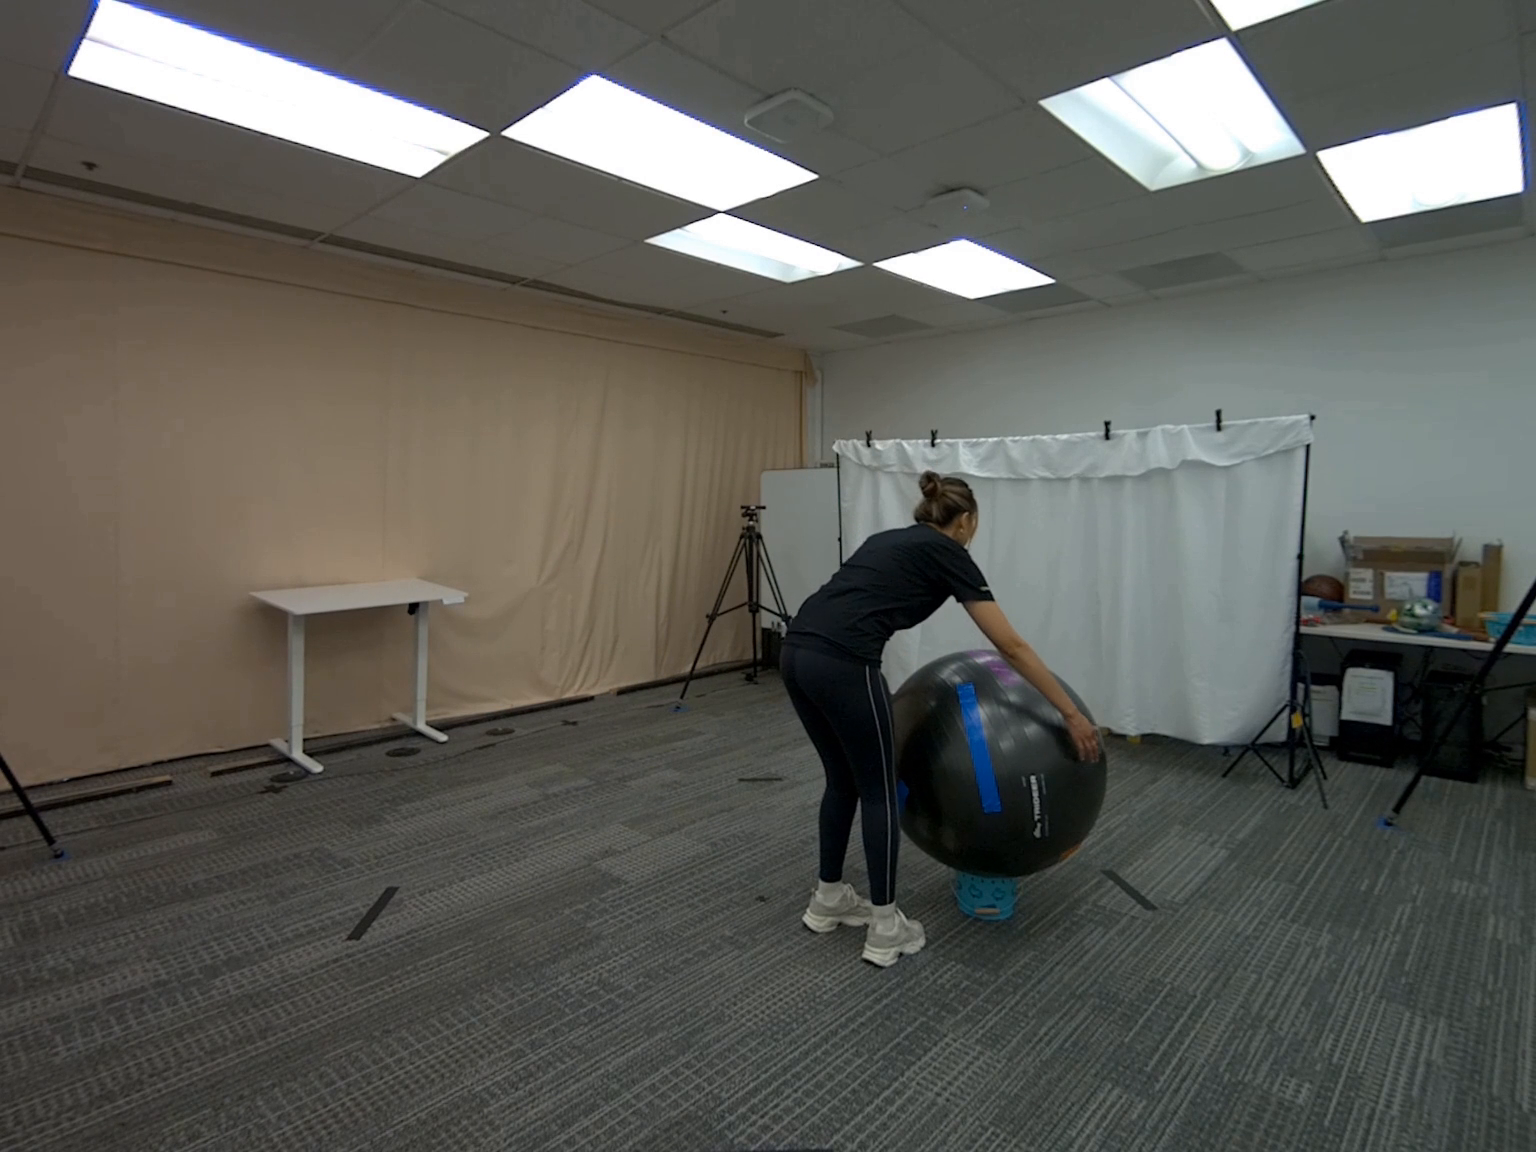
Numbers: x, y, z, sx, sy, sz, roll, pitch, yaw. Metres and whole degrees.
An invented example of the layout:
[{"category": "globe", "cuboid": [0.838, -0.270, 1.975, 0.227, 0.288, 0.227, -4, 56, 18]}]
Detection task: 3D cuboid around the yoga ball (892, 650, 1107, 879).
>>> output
[{"category": "yoga ball", "cuboid": [0.772, 0.640, 2.907, 0.757, 0.756, 0.761, 0, 4, -2]}]
